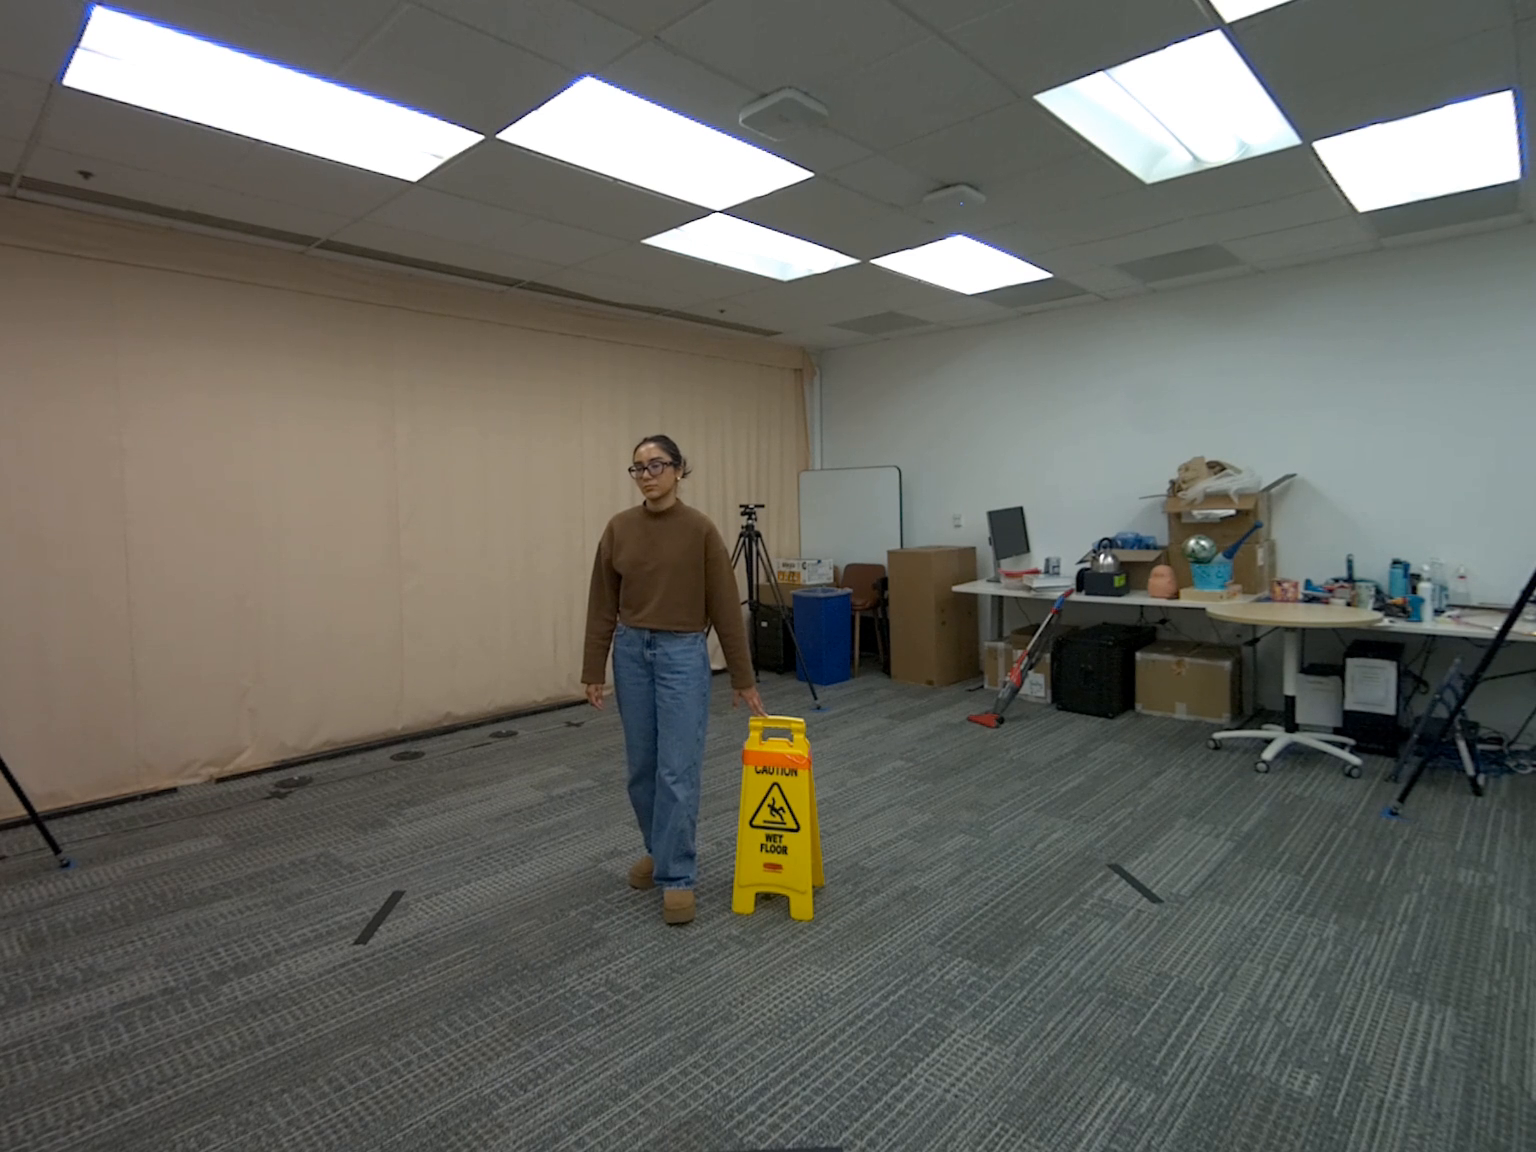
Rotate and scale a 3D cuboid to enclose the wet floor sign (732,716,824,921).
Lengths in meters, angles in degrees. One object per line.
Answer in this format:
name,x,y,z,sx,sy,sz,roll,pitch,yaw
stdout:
wet floor sign,0.040,0.817,2.957,0.287,0.645,0.286,1,3,14
